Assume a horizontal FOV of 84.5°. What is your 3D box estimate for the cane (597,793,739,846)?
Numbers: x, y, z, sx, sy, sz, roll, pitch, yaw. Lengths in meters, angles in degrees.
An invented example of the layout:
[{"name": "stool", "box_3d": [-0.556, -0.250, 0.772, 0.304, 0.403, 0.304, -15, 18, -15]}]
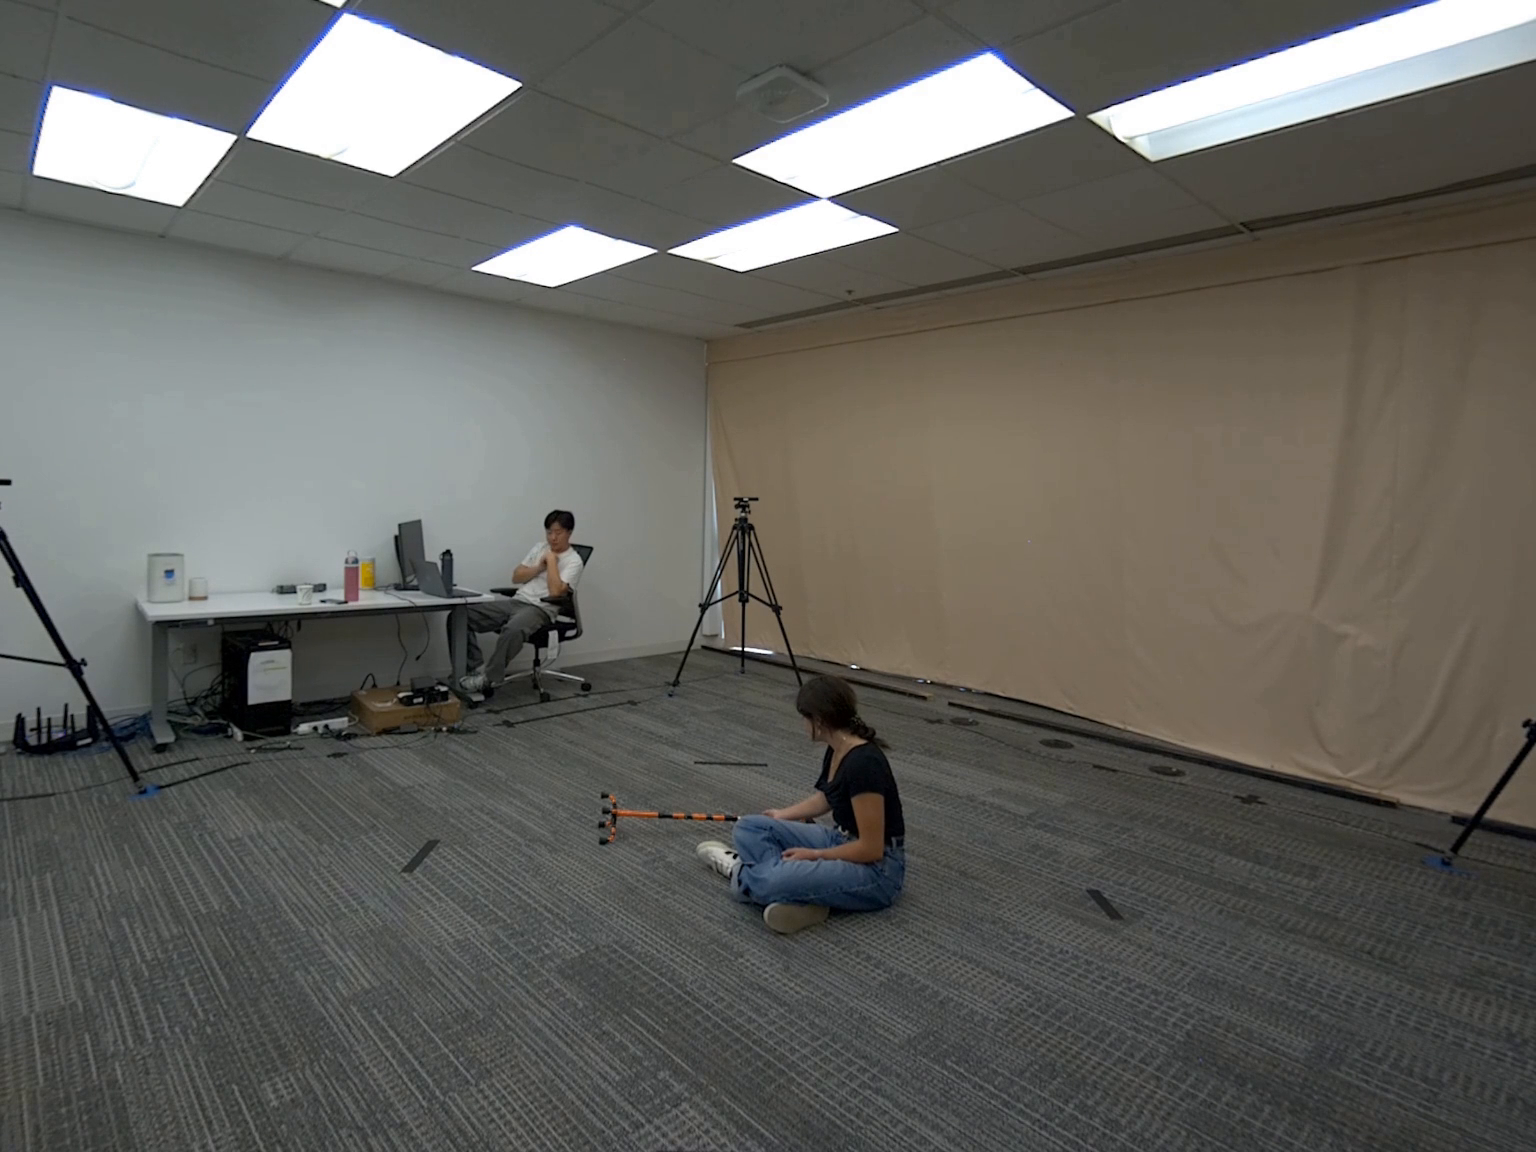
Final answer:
[{"name": "cane", "box_3d": [-0.258, 1.022, 3.523, 0.900, 0.151, 0.208, 5, 2, -10]}]
